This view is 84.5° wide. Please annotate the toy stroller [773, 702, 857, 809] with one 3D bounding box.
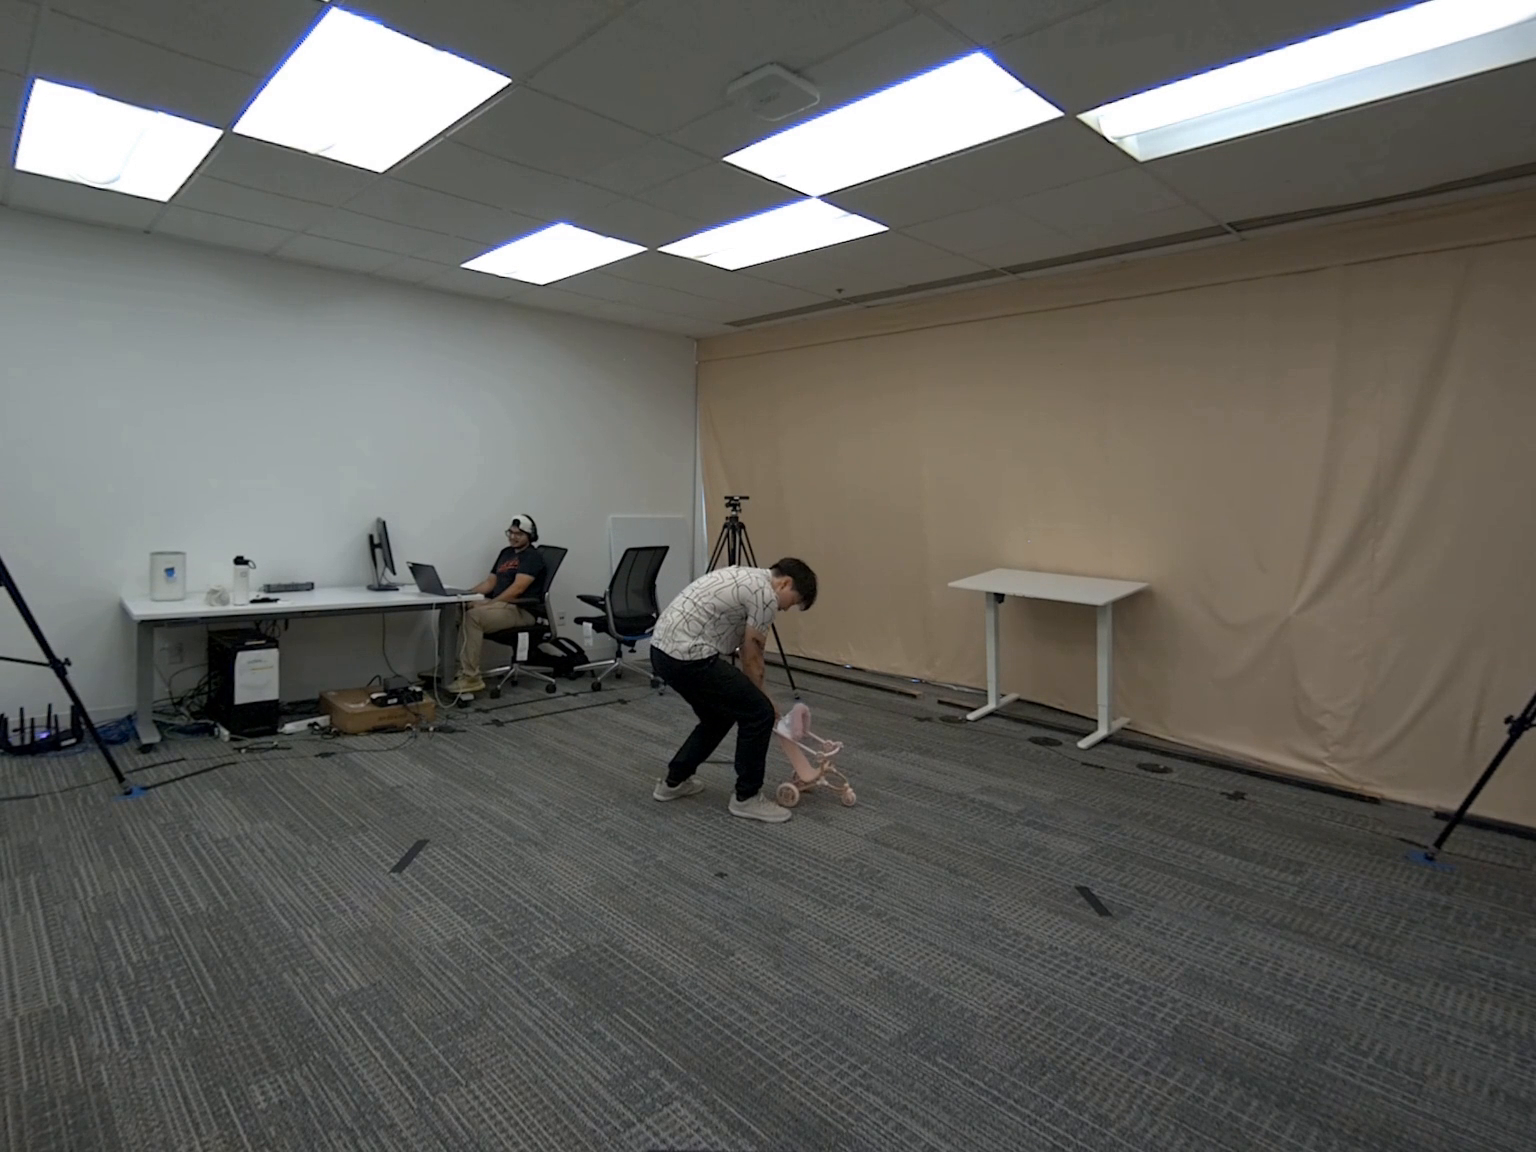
[{"bbox_3d":[0.175,0.826,3.904,0.345,0.537,0.277,-18,-4,24],"label":"toy stroller"}]
